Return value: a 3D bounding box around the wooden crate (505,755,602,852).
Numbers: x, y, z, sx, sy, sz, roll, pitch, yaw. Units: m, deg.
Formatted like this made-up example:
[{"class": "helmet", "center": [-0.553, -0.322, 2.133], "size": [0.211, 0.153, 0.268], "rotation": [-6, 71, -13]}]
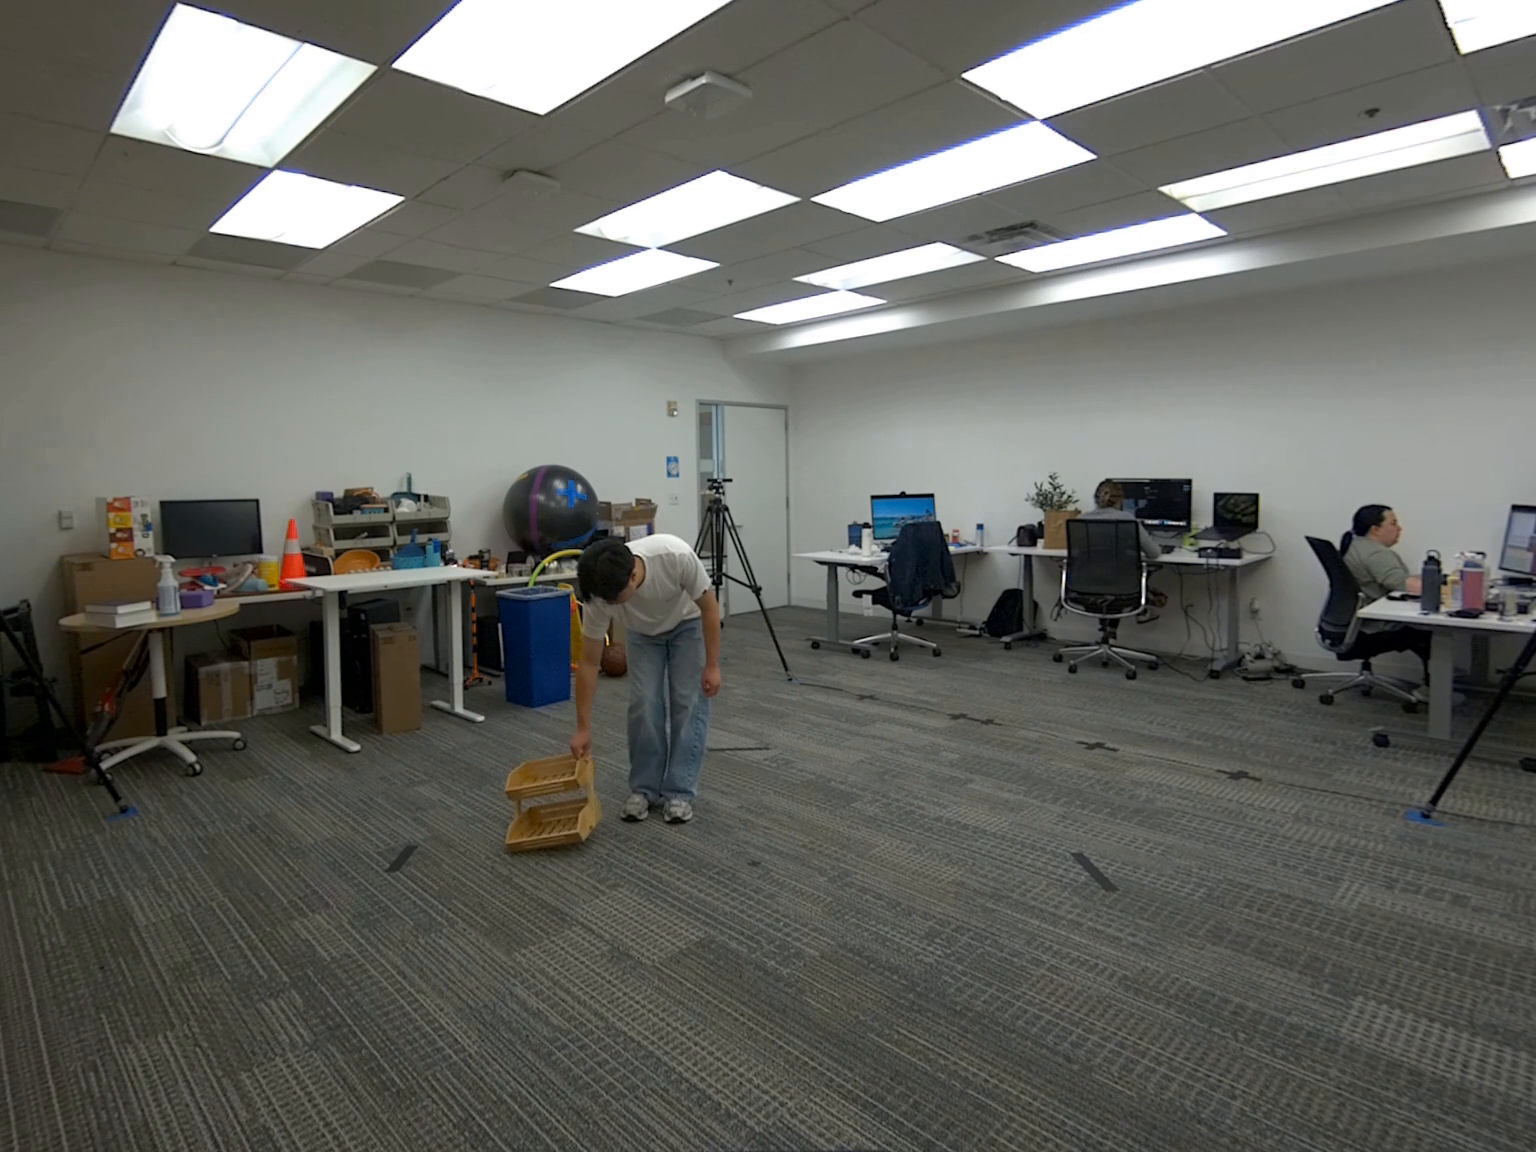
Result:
[{"class": "wooden crate", "center": [-0.859, 0.878, 3.325], "size": [0.327, 0.273, 0.300], "rotation": [-12, 3, 9]}]
